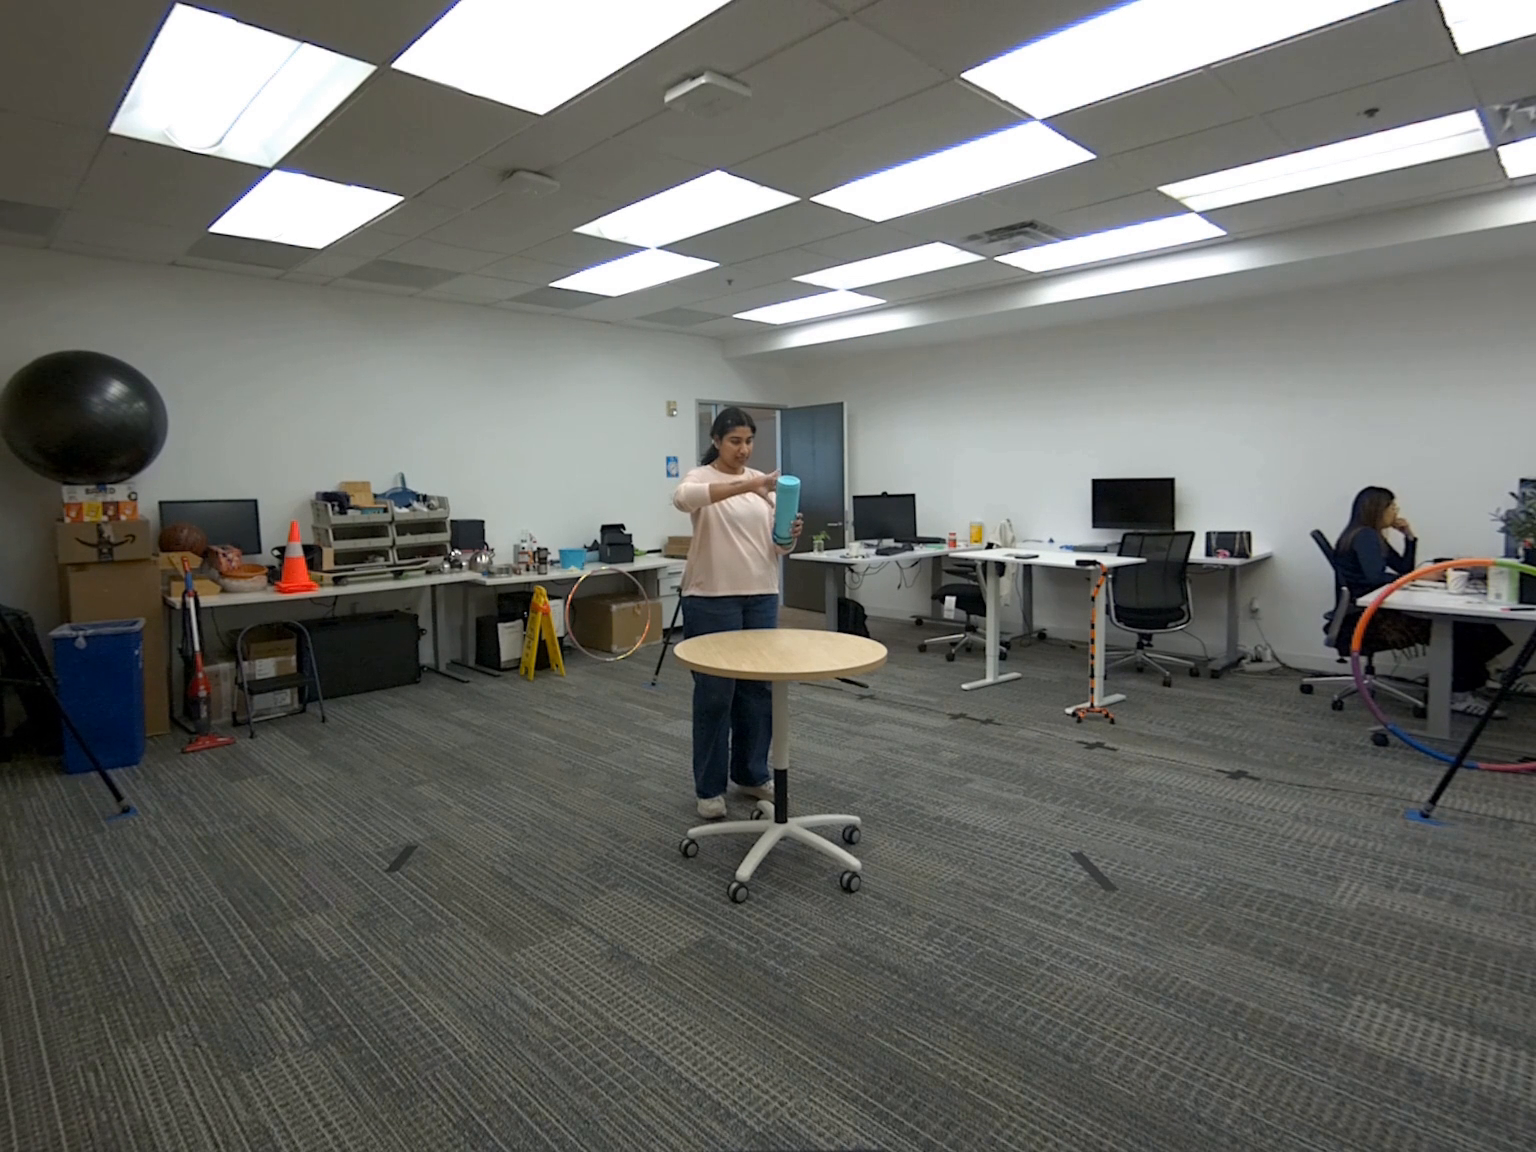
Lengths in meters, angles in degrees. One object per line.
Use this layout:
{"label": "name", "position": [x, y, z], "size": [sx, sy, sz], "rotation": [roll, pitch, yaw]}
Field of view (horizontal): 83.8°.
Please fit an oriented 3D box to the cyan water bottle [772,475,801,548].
{"label": "cyan water bottle", "position": [0.066, -0.240, 3.330], "size": [0.092, 0.278, 0.094], "rotation": [6, 28, -5]}
